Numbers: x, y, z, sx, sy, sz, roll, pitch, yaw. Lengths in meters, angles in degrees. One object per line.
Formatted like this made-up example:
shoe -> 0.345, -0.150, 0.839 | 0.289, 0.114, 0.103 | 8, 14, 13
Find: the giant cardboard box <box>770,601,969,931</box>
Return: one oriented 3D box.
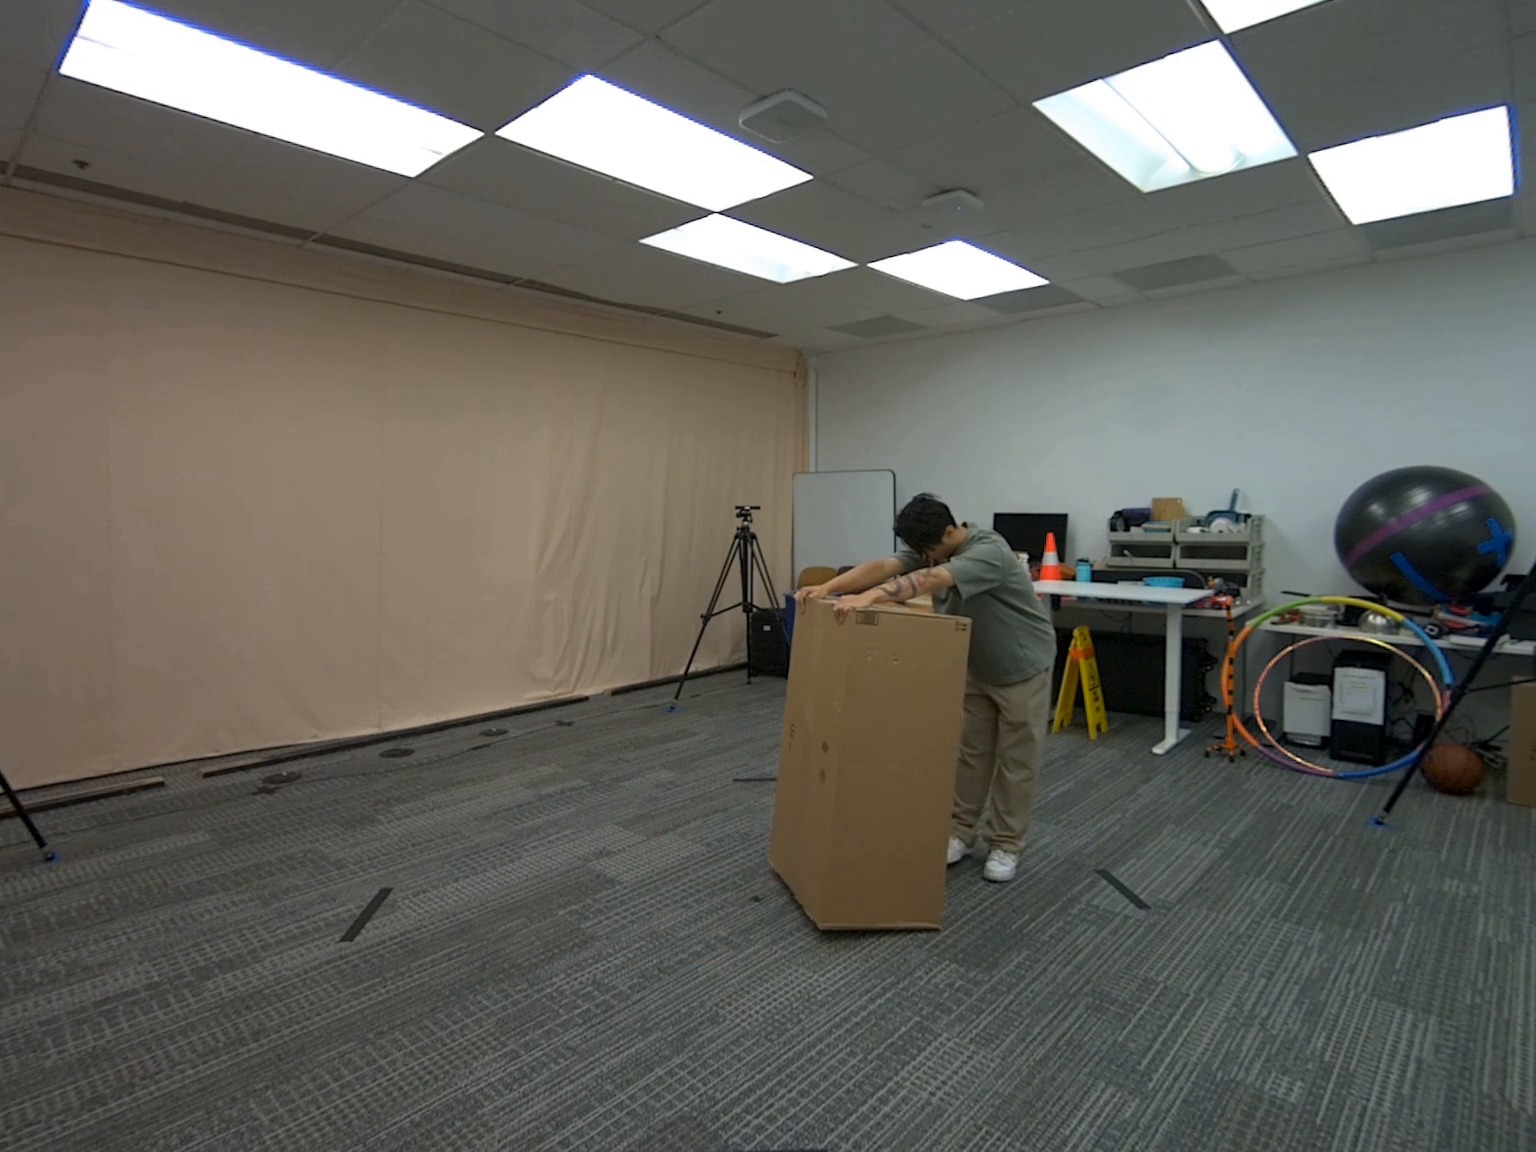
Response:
giant cardboard box -> 0.347, 0.615, 2.980 | 0.419, 1.025, 0.588 | 6, 0, -17
